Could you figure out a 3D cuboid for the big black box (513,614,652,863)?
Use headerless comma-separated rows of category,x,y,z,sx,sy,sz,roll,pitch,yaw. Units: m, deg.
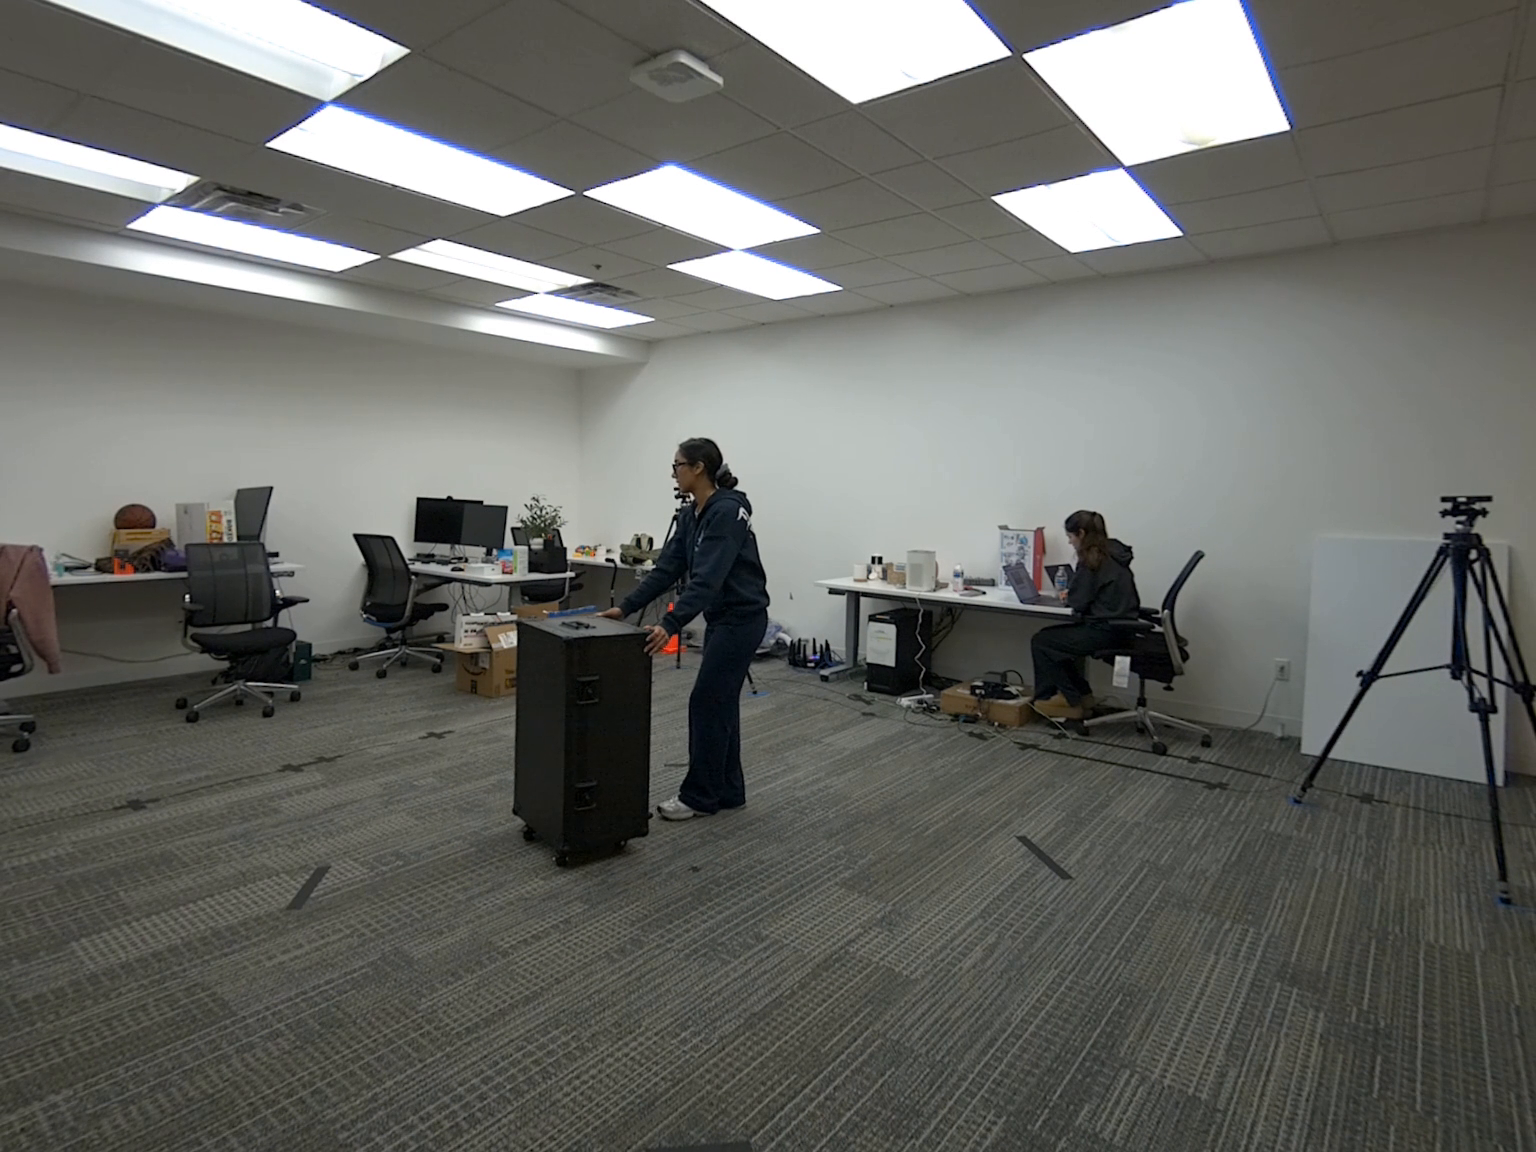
big black box,-0.741,0.616,3.318,0.384,0.861,0.538,2,2,-37
